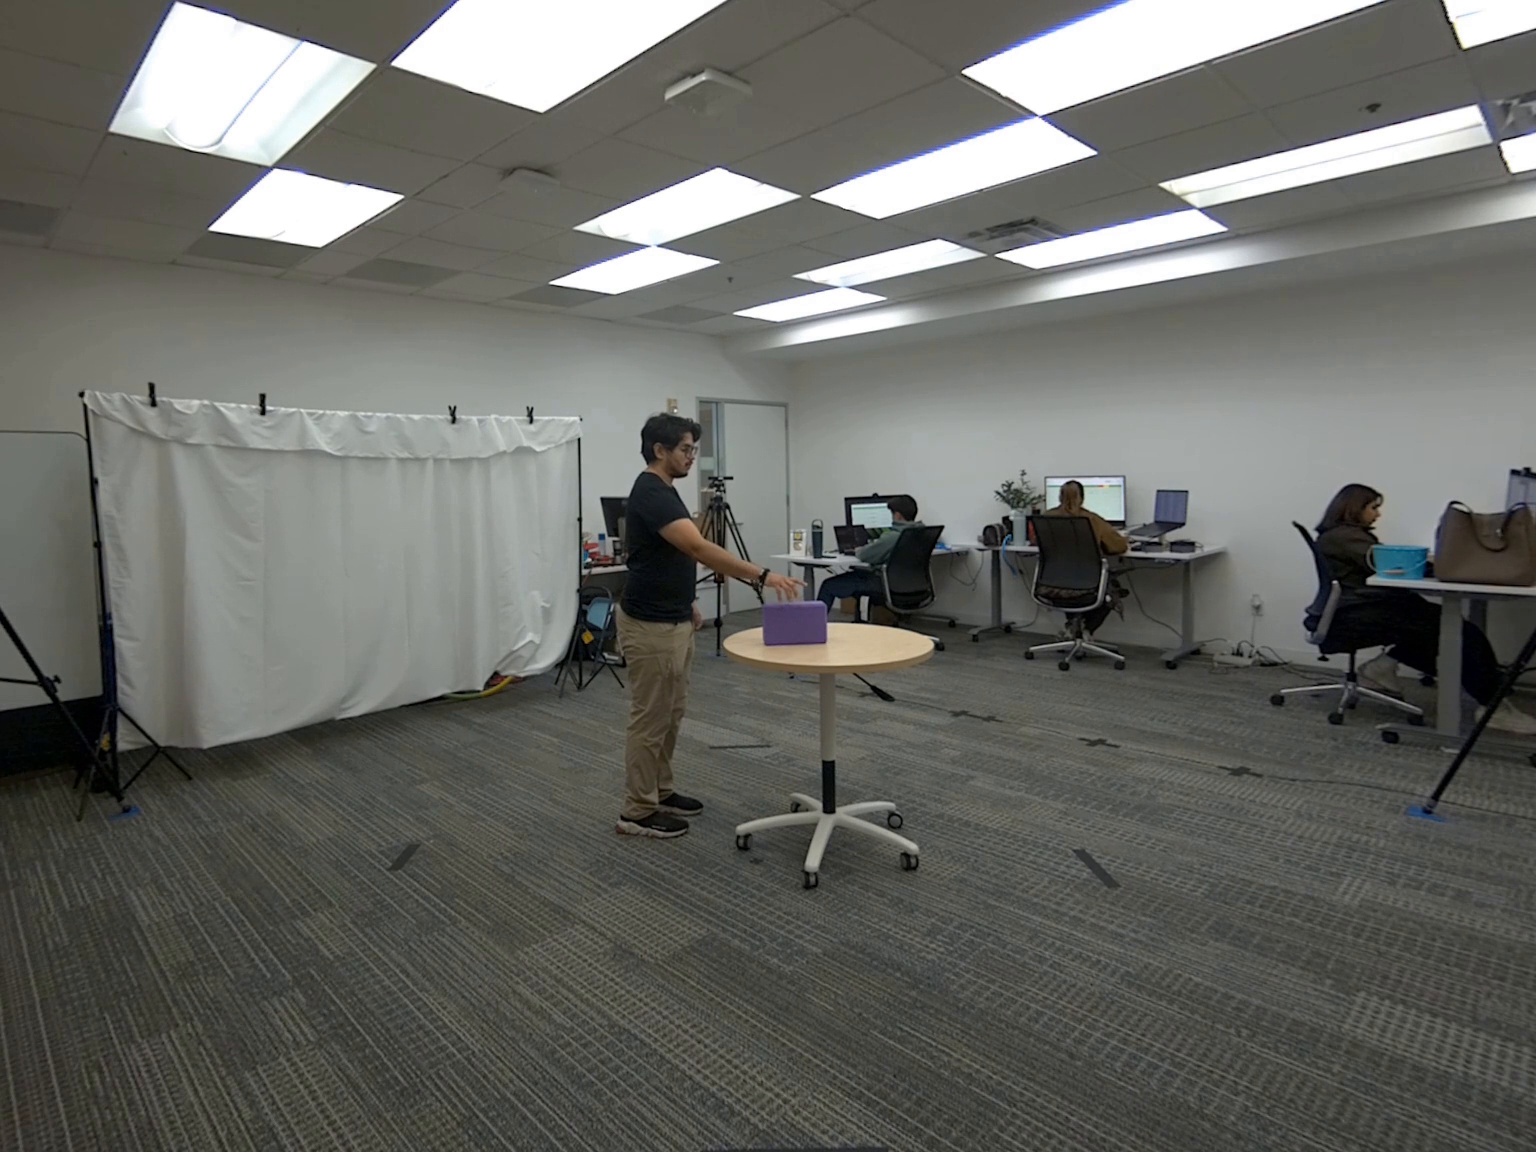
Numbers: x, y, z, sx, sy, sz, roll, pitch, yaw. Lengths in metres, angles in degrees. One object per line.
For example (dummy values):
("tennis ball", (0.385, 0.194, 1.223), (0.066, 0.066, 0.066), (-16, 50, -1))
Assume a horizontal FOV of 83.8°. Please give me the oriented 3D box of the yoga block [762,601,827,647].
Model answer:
("yoga block", (0.102, 0.170, 3.137), (0.229, 0.148, 0.077), (-2, 3, -2))
